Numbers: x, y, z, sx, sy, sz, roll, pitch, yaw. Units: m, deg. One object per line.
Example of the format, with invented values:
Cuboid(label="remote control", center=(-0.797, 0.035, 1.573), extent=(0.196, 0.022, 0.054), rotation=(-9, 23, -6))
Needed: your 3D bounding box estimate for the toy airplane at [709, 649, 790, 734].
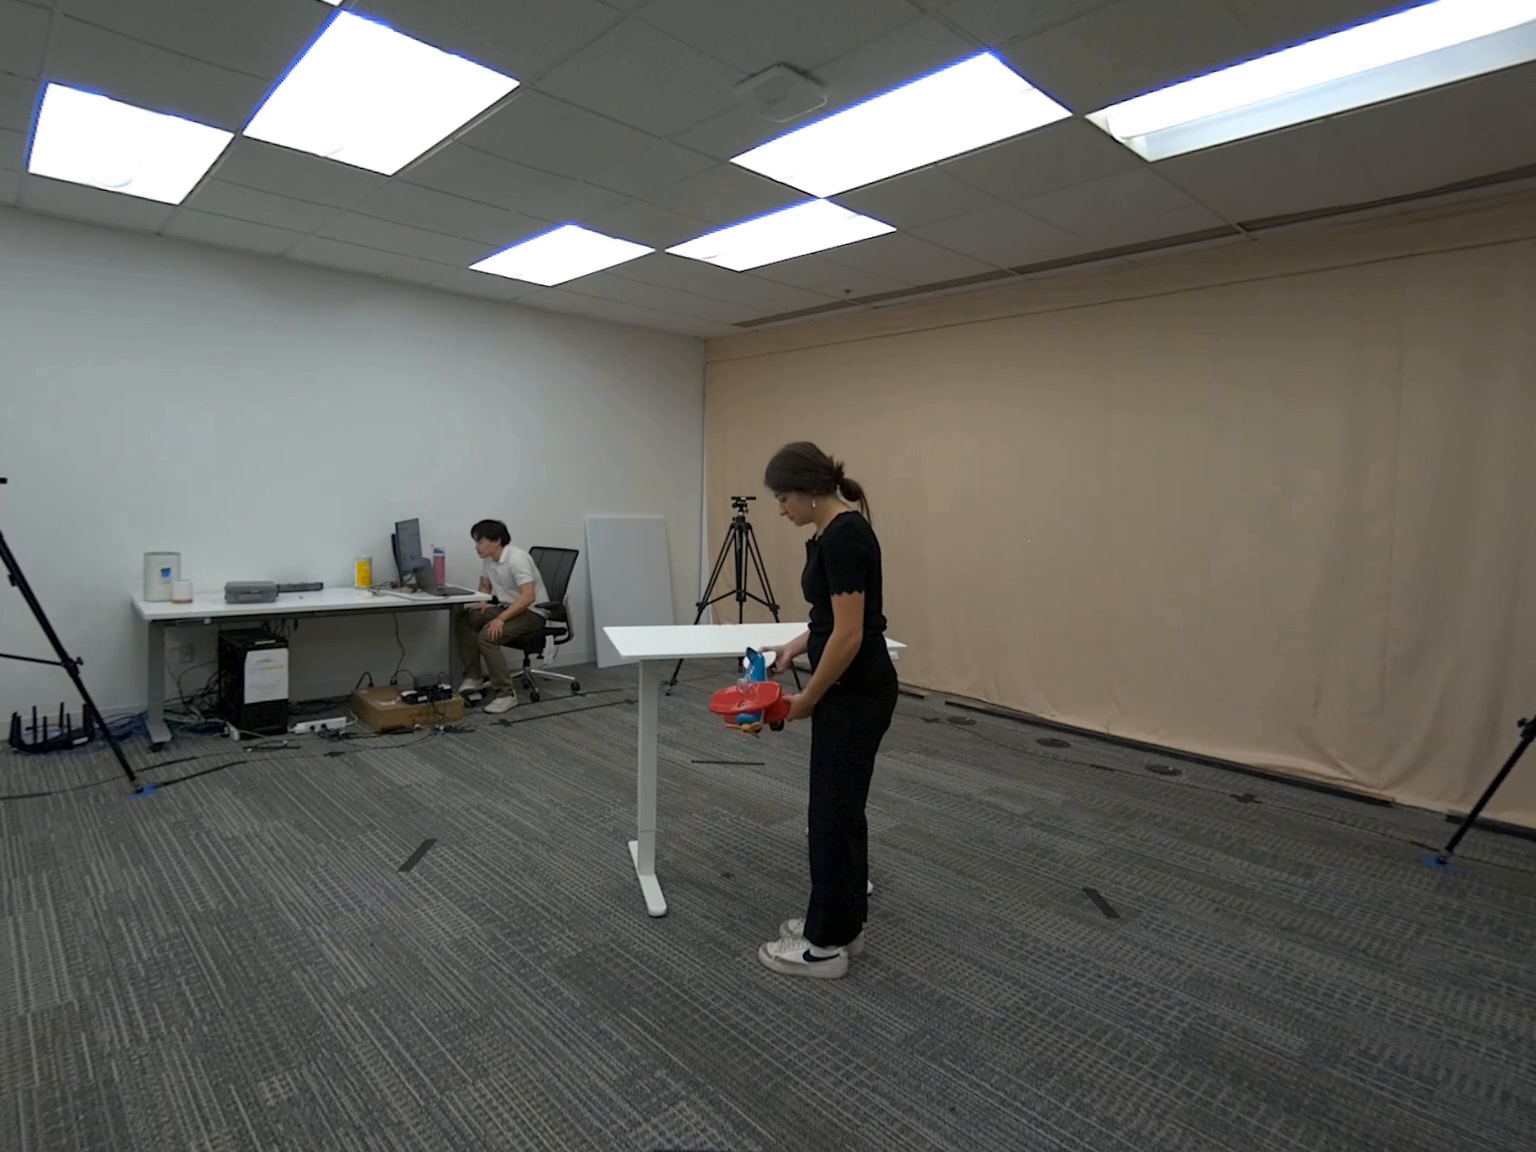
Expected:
Cuboid(label="toy airplane", center=(-0.060, 0.362, 2.568), extent=(0.252, 0.267, 0.151), rotation=(-39, -38, 16))
